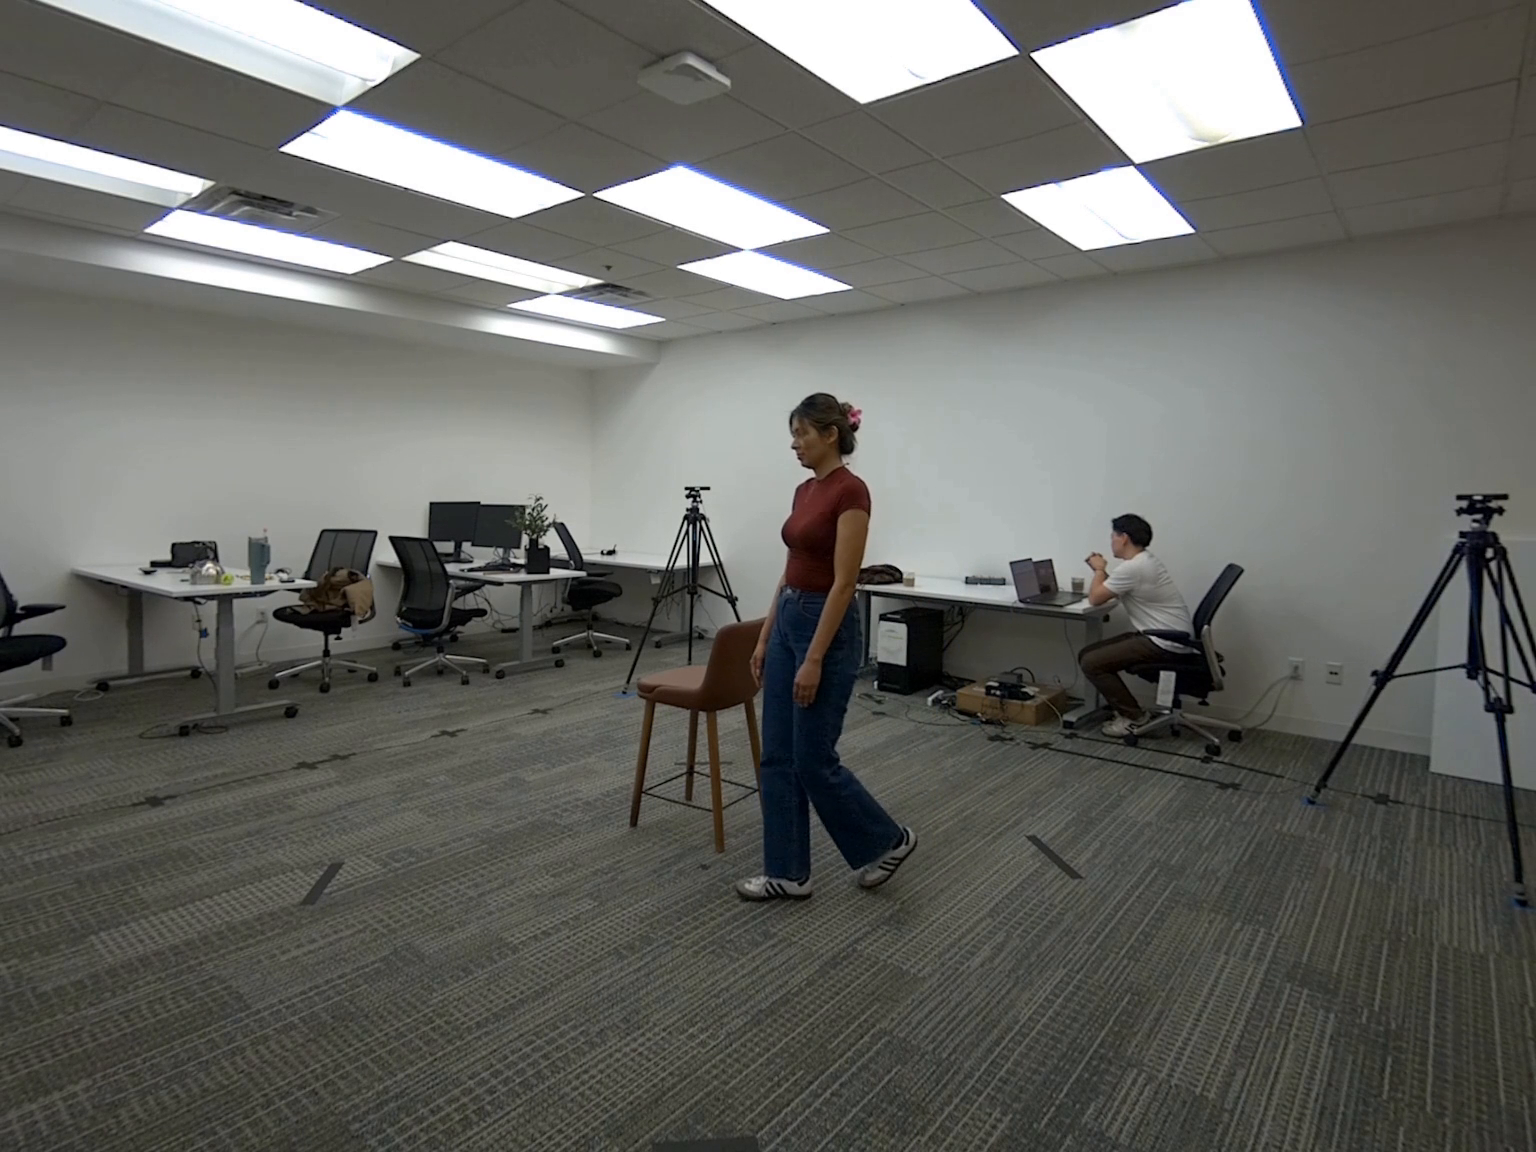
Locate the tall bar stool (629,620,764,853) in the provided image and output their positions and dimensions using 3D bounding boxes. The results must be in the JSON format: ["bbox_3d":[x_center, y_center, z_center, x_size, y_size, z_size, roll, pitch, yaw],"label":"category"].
[{"bbox_3d":[-0.273,0.591,3.492,0.483,0.886,0.444,5,5,33],"label":"tall bar stool"}]
